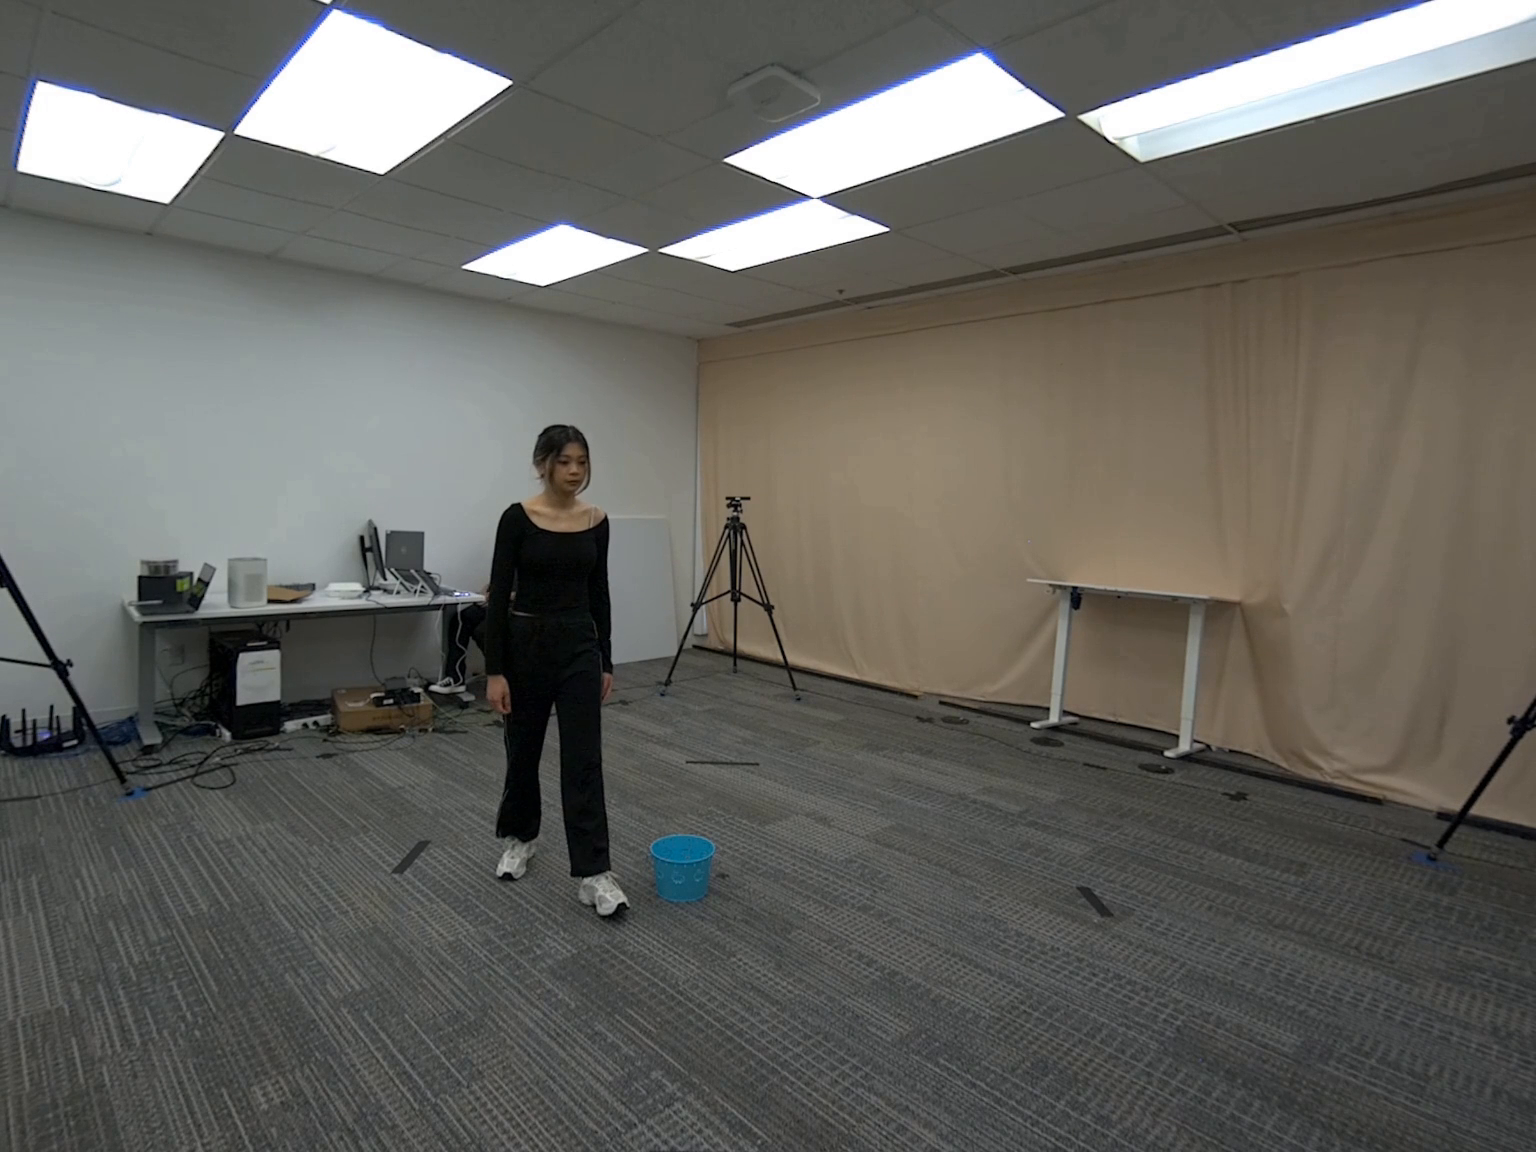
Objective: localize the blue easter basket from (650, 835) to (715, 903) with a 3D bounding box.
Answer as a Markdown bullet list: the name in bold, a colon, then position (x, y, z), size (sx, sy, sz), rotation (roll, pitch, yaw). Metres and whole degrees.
- **blue easter basket**: position (-0.309, 1.036, 2.985), size (0.243, 0.155, 0.245), rotation (1, 6, -1)
